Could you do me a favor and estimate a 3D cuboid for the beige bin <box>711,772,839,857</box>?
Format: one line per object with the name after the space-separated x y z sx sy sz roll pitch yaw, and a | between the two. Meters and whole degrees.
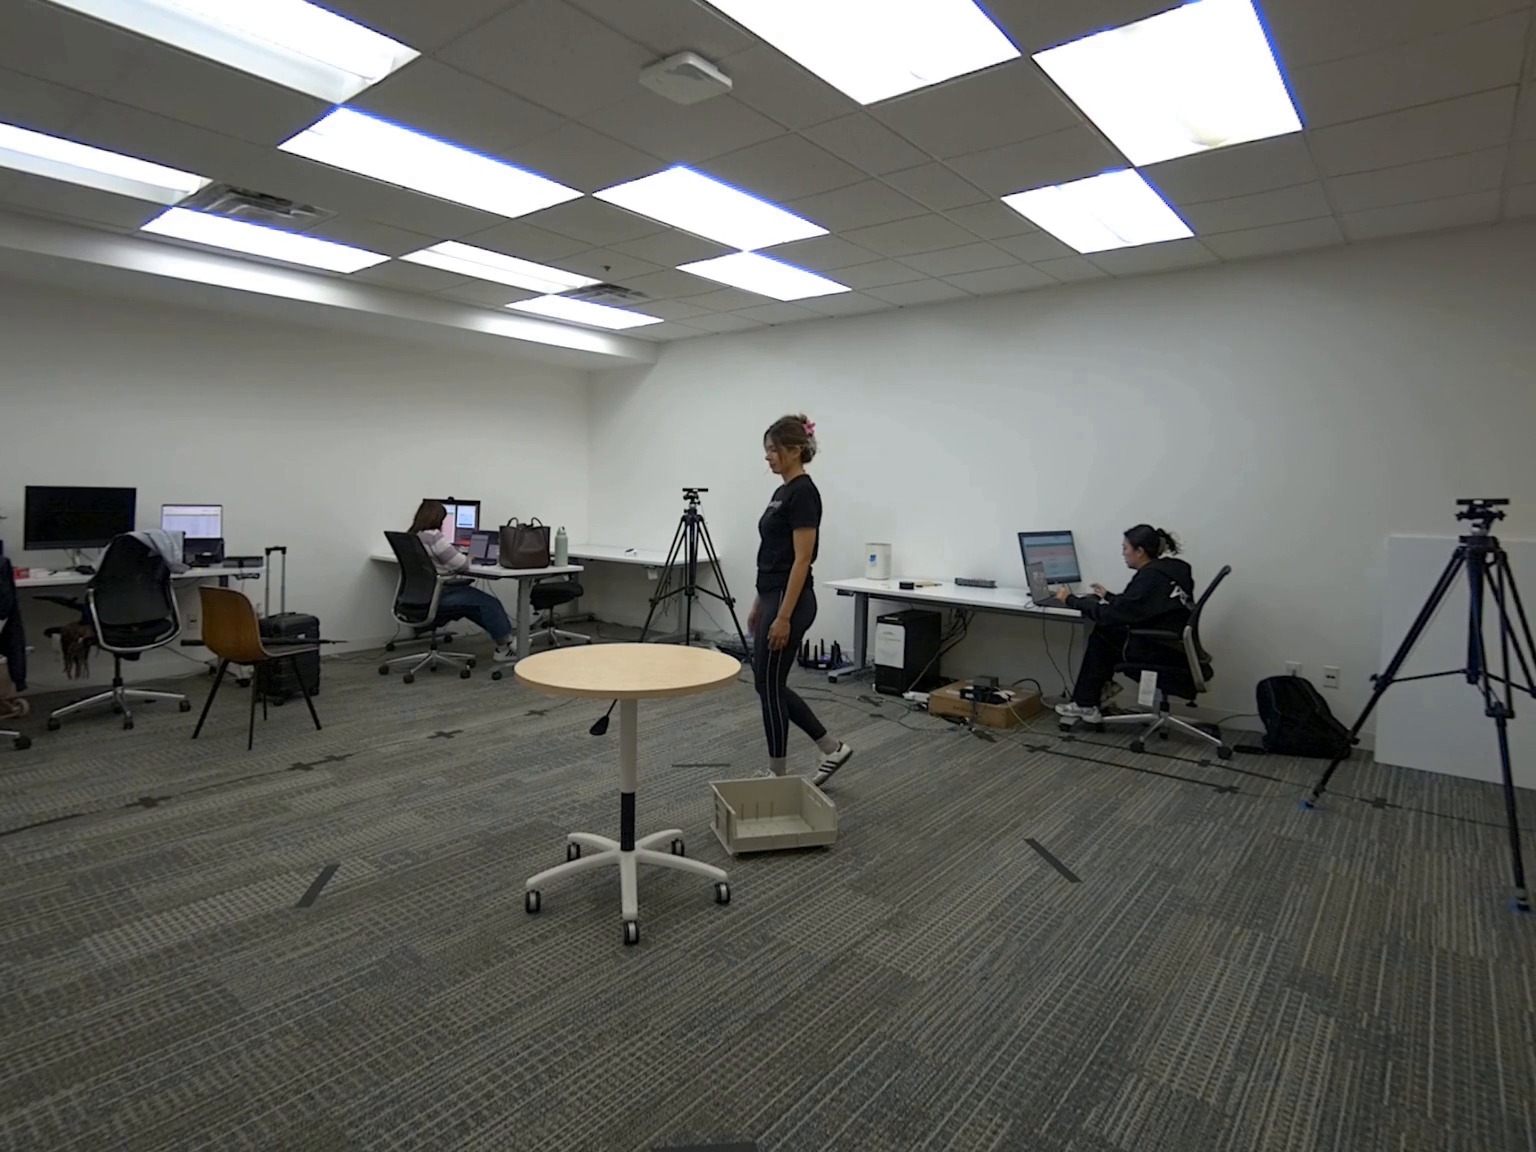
0.002 0.962 3.402 0.415 0.188 0.385 -1 5 -18 | beige bin
